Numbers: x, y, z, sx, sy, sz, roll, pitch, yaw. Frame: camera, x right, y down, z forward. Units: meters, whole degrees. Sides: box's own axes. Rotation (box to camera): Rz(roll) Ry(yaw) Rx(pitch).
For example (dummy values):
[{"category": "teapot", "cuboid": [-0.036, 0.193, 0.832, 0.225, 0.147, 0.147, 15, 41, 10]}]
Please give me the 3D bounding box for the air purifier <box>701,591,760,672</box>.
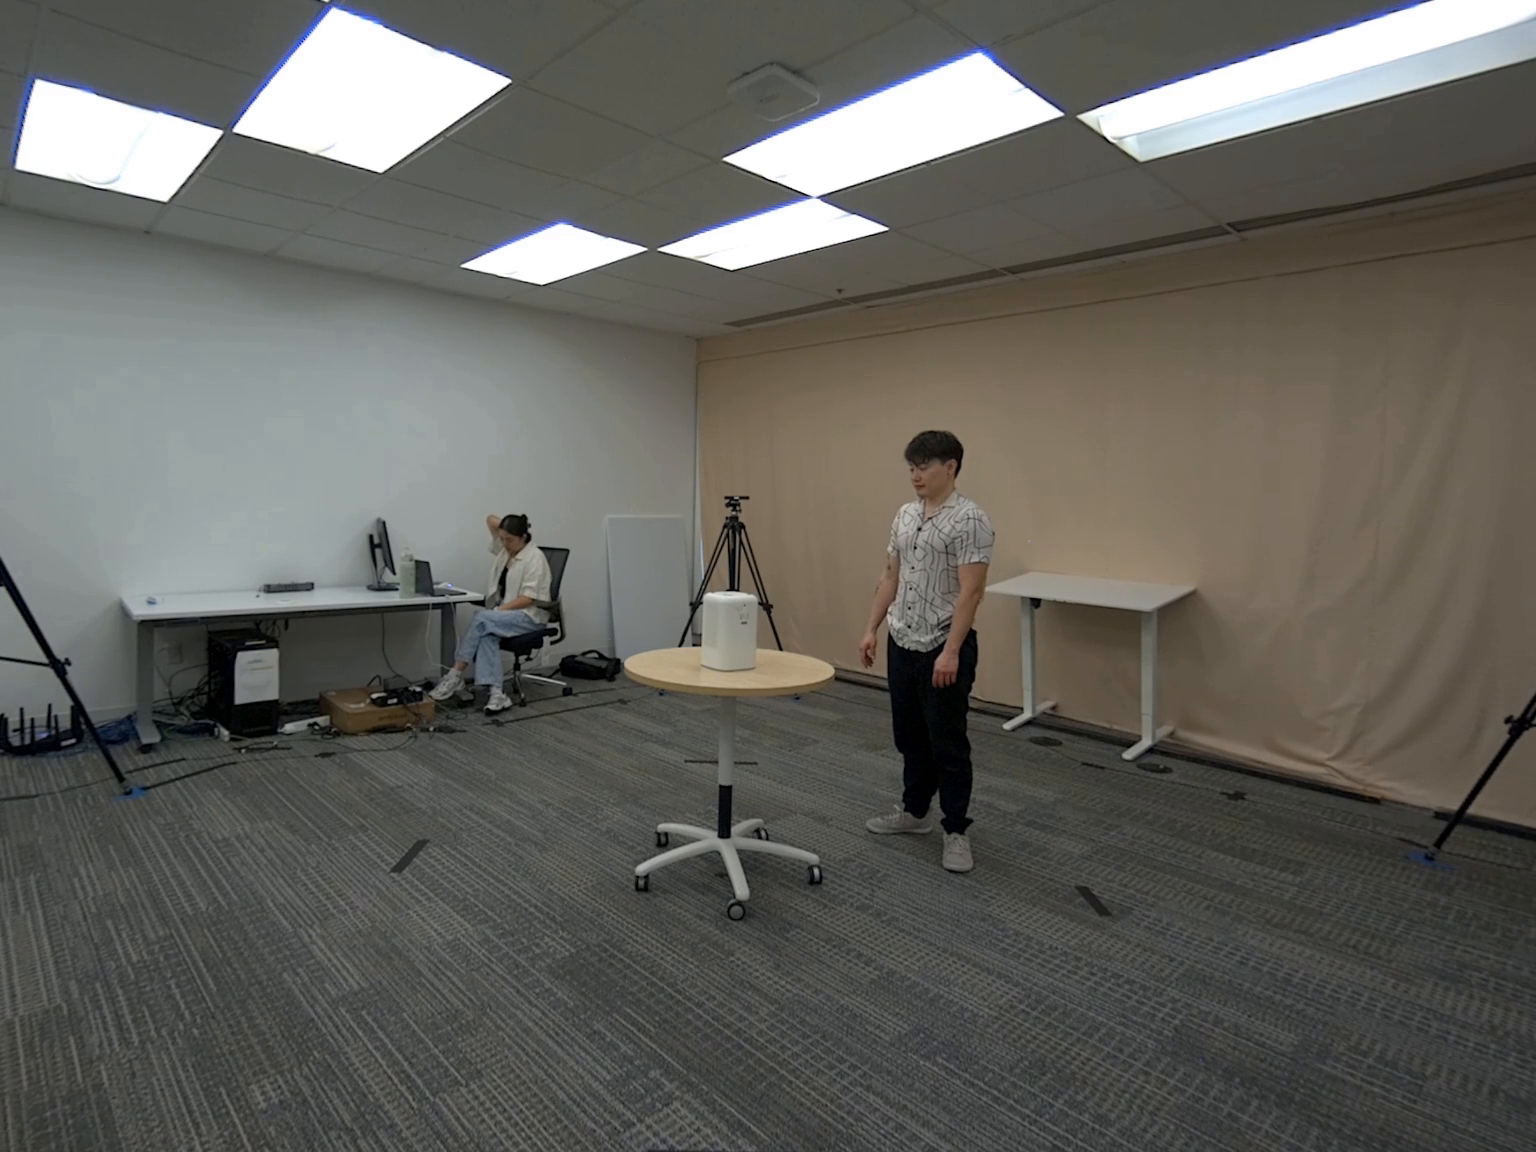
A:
[{"category": "air purifier", "cuboid": [-0.146, 0.194, 3.036, 0.167, 0.265, 0.176, -1, 4, -37]}]
